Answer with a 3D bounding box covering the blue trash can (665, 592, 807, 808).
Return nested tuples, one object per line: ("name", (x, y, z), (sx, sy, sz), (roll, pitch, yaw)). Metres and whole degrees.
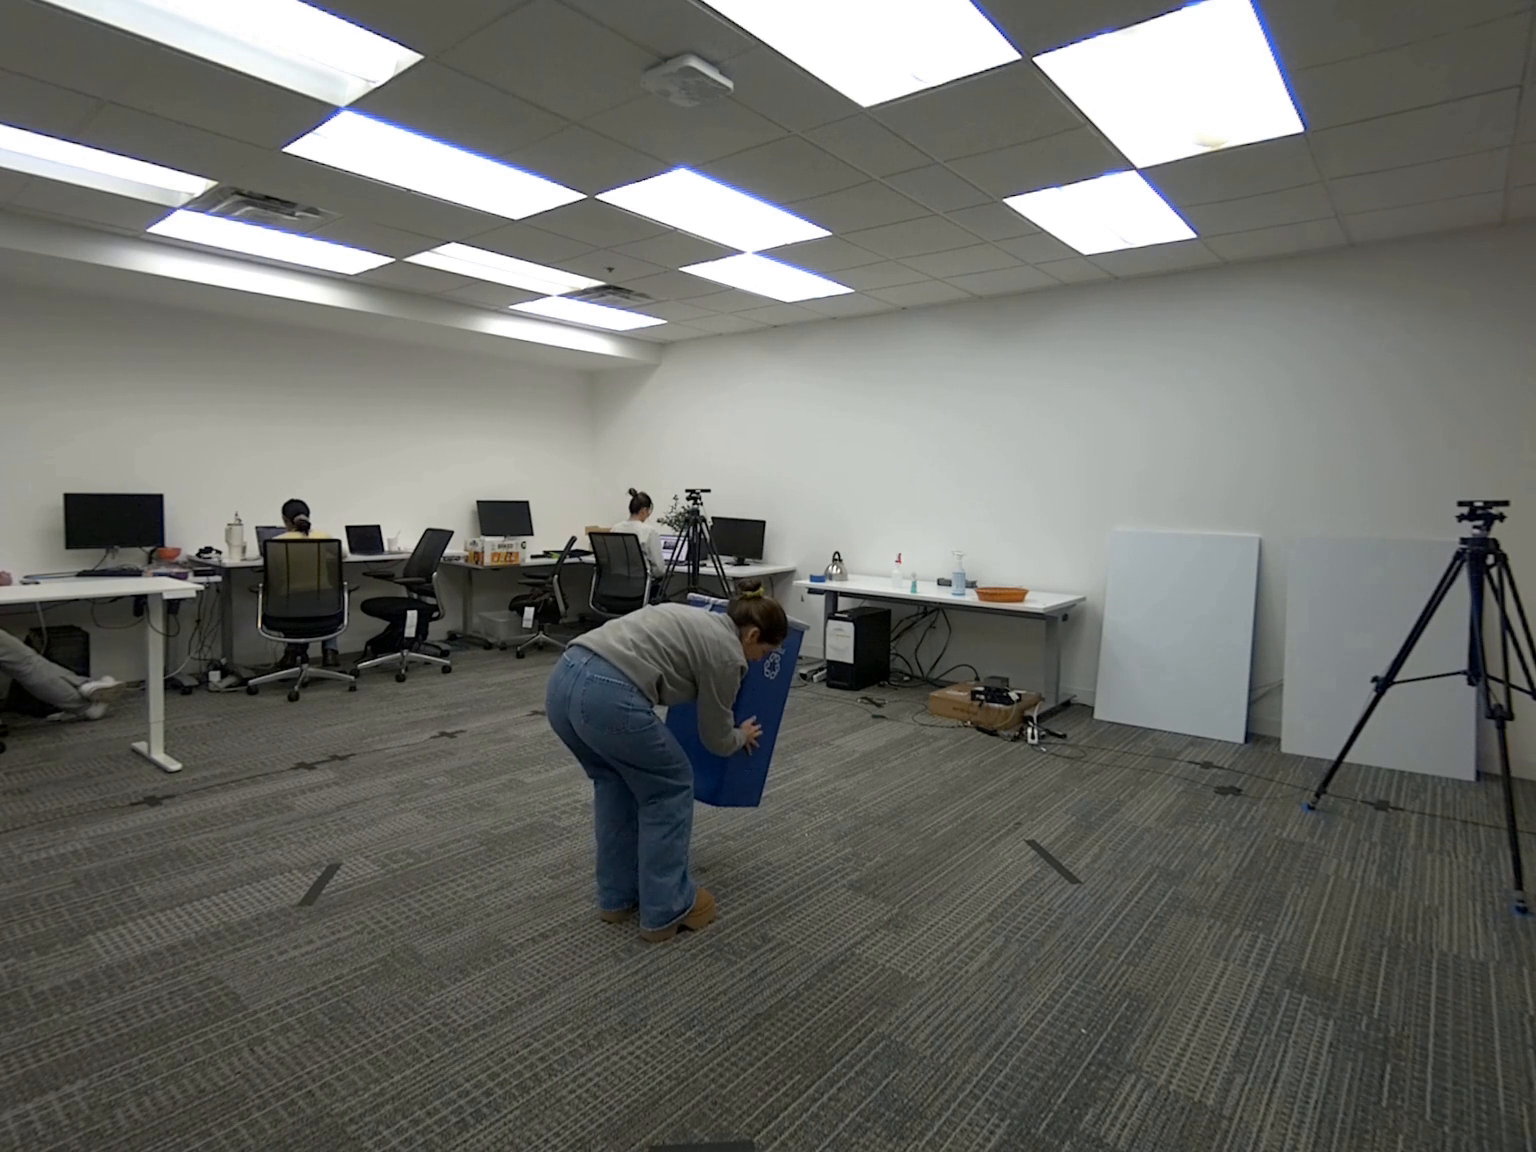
("blue trash can", (-0.159, 0.461, 3.227), (0.391, 0.717, 0.360), (8, -9, 34))
